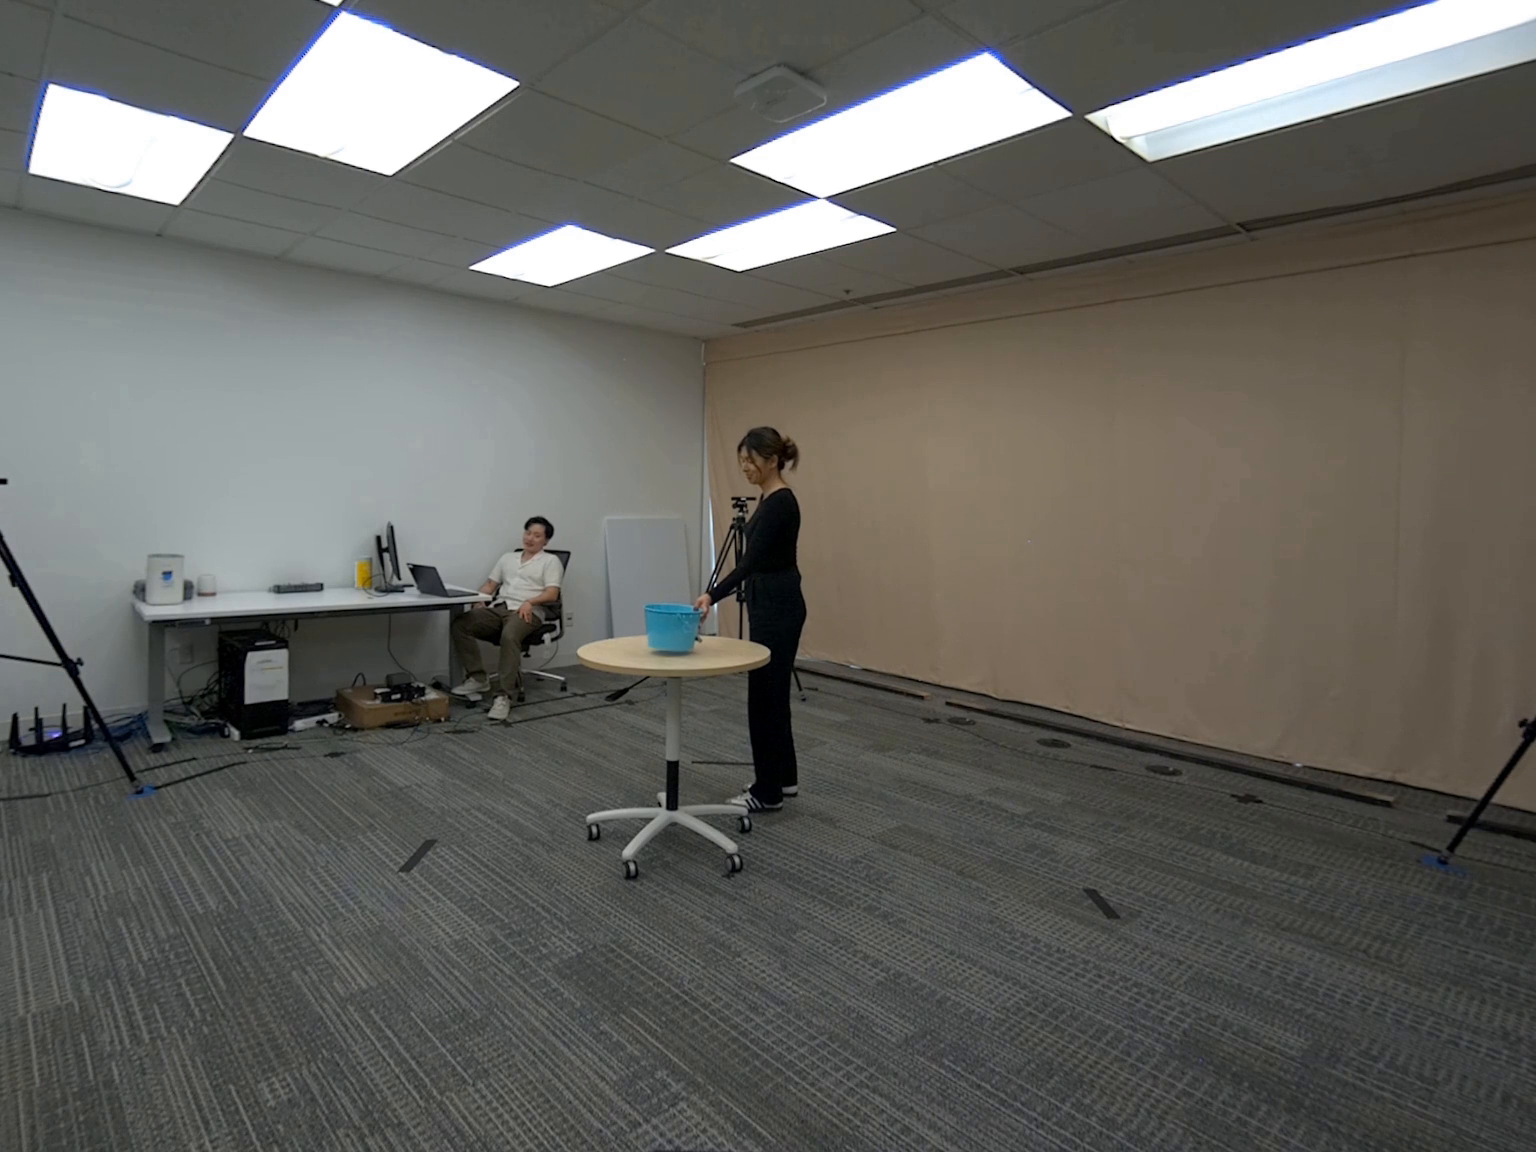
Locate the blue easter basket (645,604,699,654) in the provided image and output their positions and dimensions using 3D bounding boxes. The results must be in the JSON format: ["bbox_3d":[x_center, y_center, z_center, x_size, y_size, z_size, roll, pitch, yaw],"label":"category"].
[{"bbox_3d":[-0.378,0.205,3.286,0.243,0.155,0.244,4,5,-2],"label":"blue easter basket"}]
